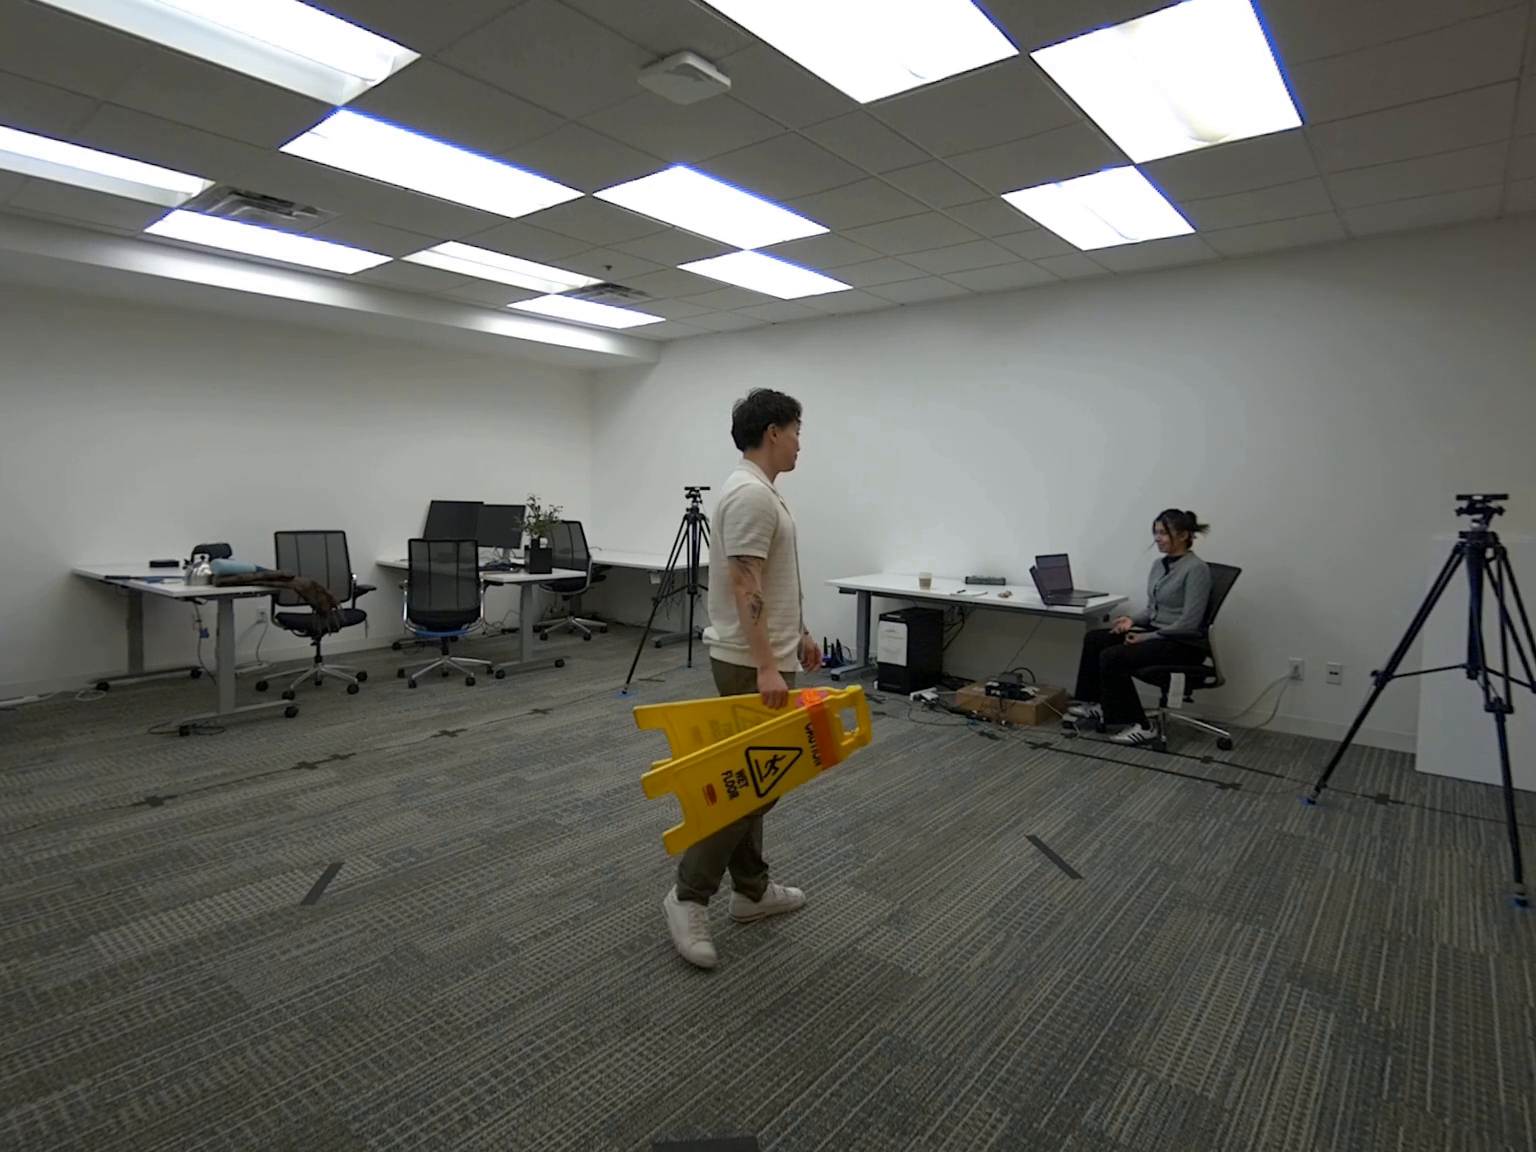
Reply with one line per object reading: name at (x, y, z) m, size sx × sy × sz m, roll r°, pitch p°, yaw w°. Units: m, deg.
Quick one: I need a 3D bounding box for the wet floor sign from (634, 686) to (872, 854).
wet floor sign at (-0.039, 0.474, 2.386) m, size 0.644 × 0.274 × 0.299 m, roll -16°, pitch 27°, yaw -3°
